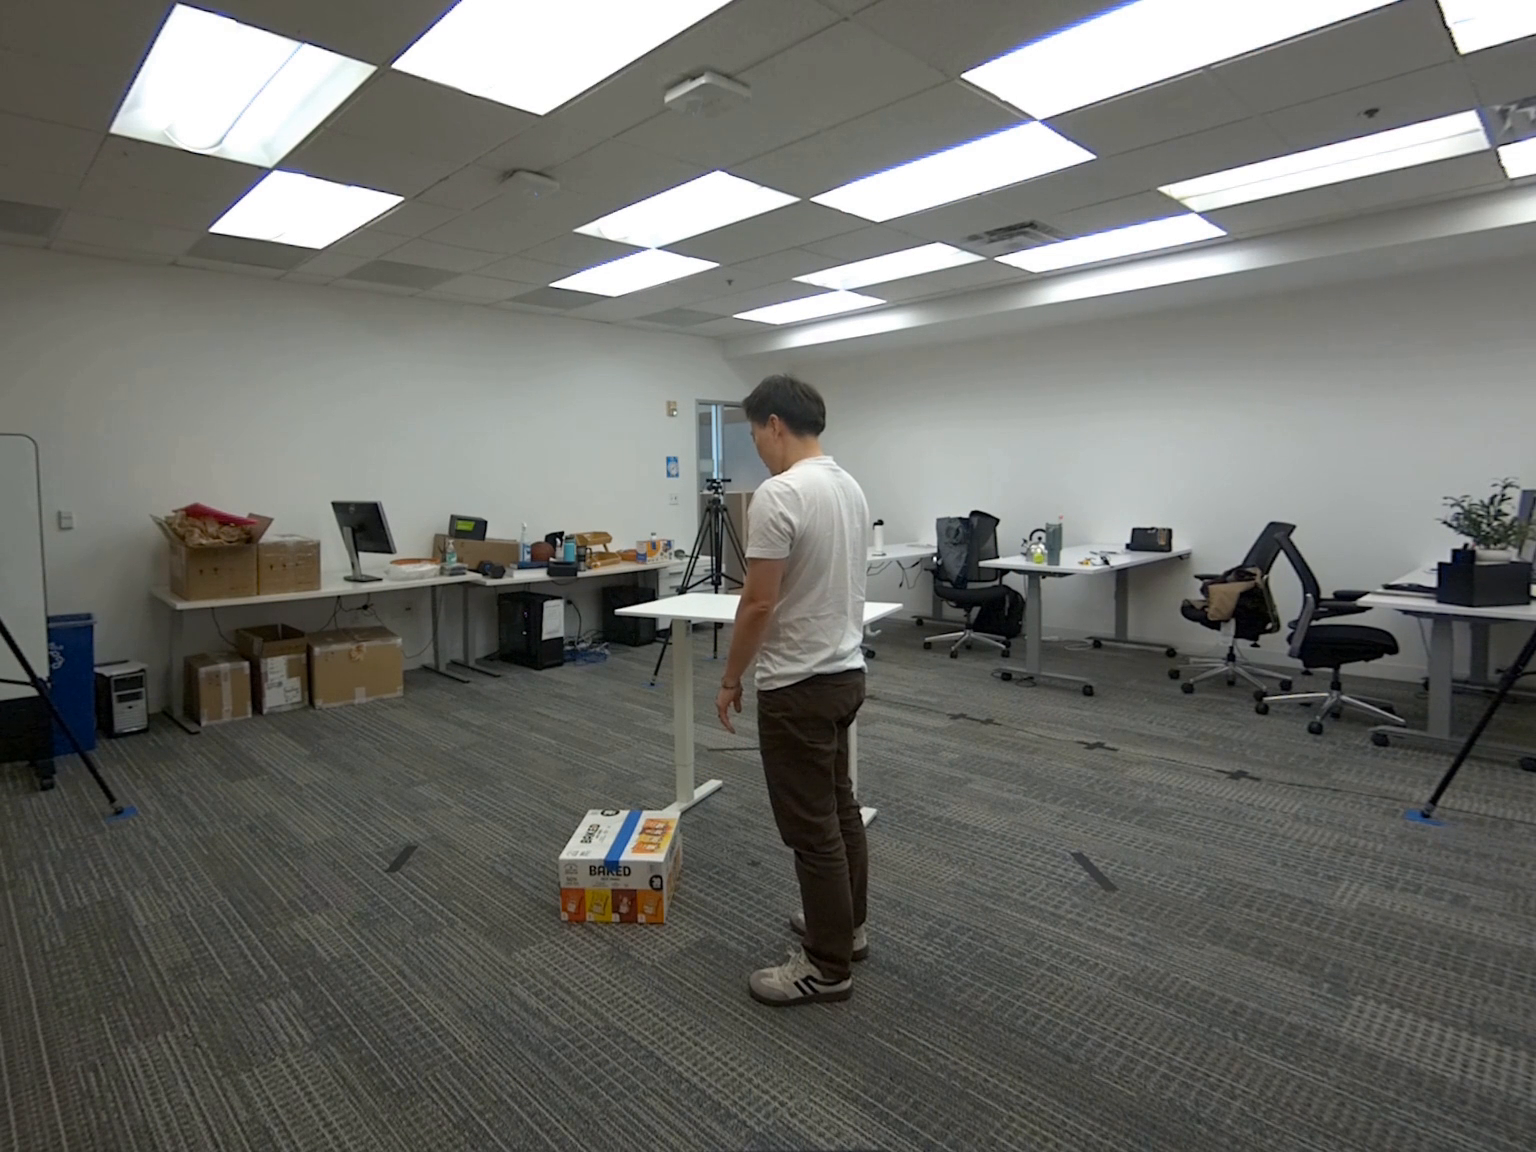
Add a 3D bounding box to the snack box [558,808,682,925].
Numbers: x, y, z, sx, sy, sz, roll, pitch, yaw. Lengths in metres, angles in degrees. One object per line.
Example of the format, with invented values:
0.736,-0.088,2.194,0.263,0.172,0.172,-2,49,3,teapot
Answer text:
-0.489,0.973,2.900,0.342,0.205,0.405,0,6,4,snack box
